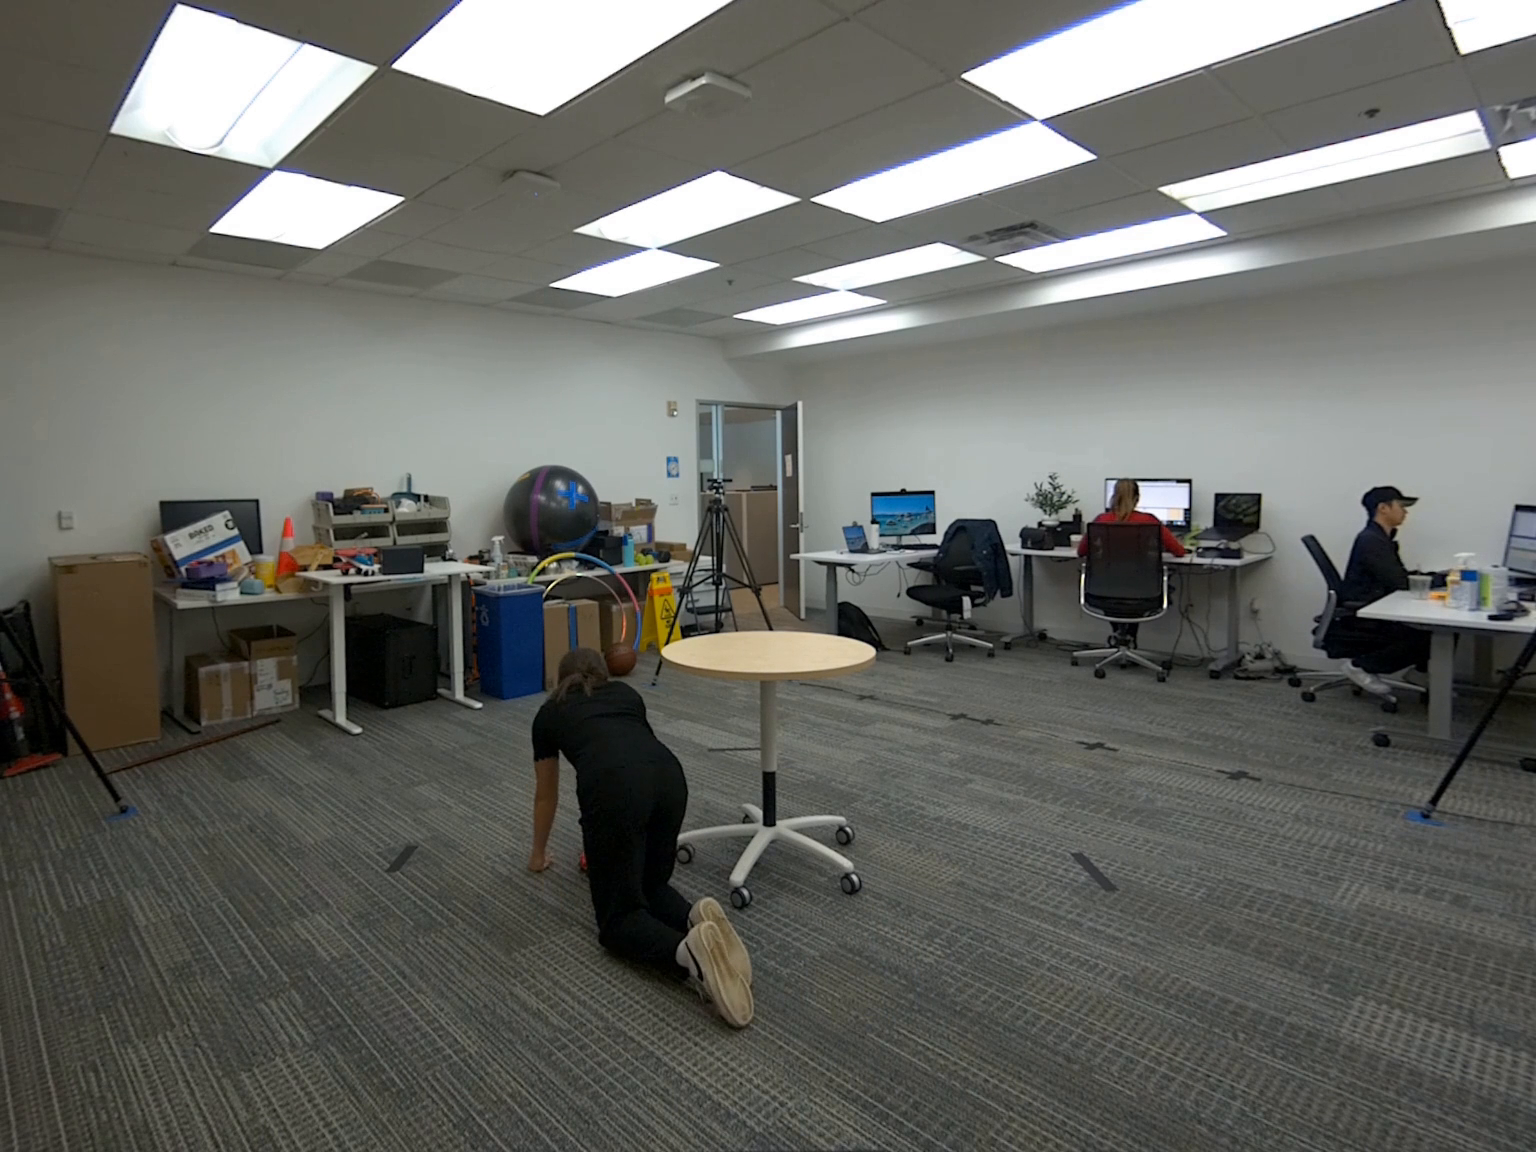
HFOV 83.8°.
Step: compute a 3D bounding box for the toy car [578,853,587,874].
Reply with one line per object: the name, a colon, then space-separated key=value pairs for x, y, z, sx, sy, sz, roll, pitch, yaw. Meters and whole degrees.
toy car: x=-0.630 y=1.027 z=3.139 sx=0.129 sy=0.084 sz=0.254 roll=-1 pitch=-6 yaw=-7
